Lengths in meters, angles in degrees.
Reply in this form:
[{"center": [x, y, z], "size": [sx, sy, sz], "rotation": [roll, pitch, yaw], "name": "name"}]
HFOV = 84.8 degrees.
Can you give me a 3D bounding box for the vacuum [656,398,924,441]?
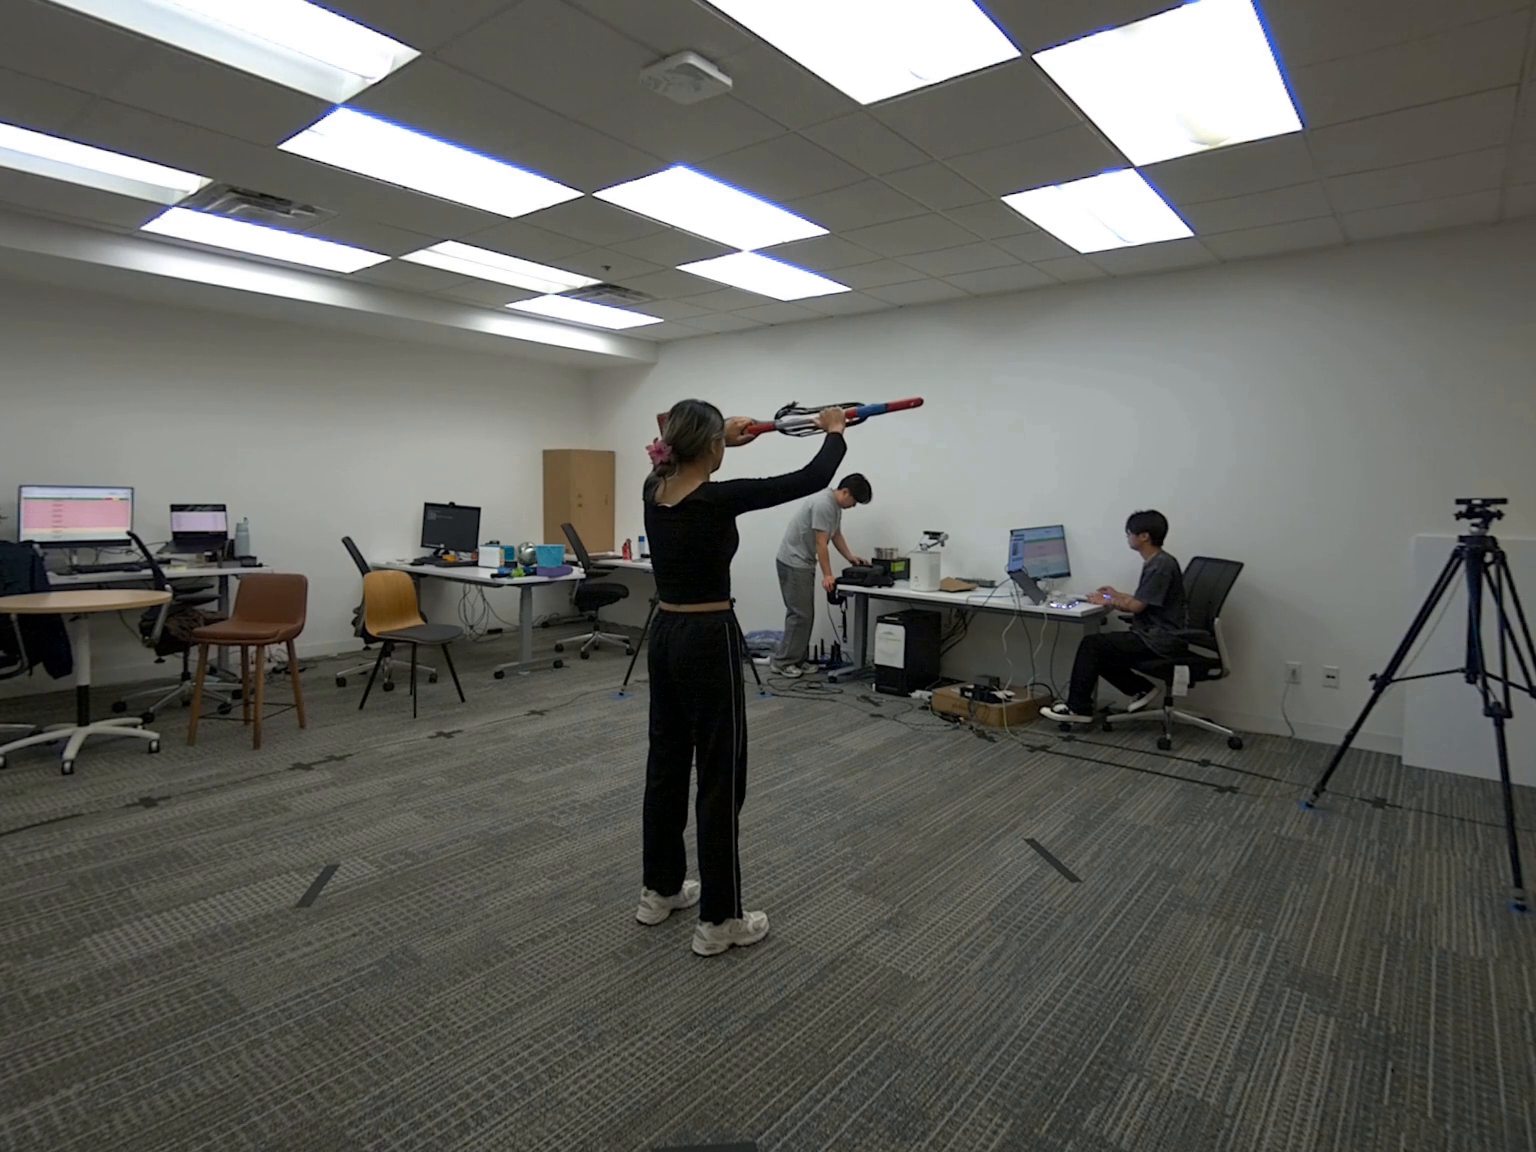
[{"center": [0.047, -0.524, 2.949], "size": [1.081, 0.249, 0.141], "rotation": [-1, 17, 42], "name": "vacuum"}]
